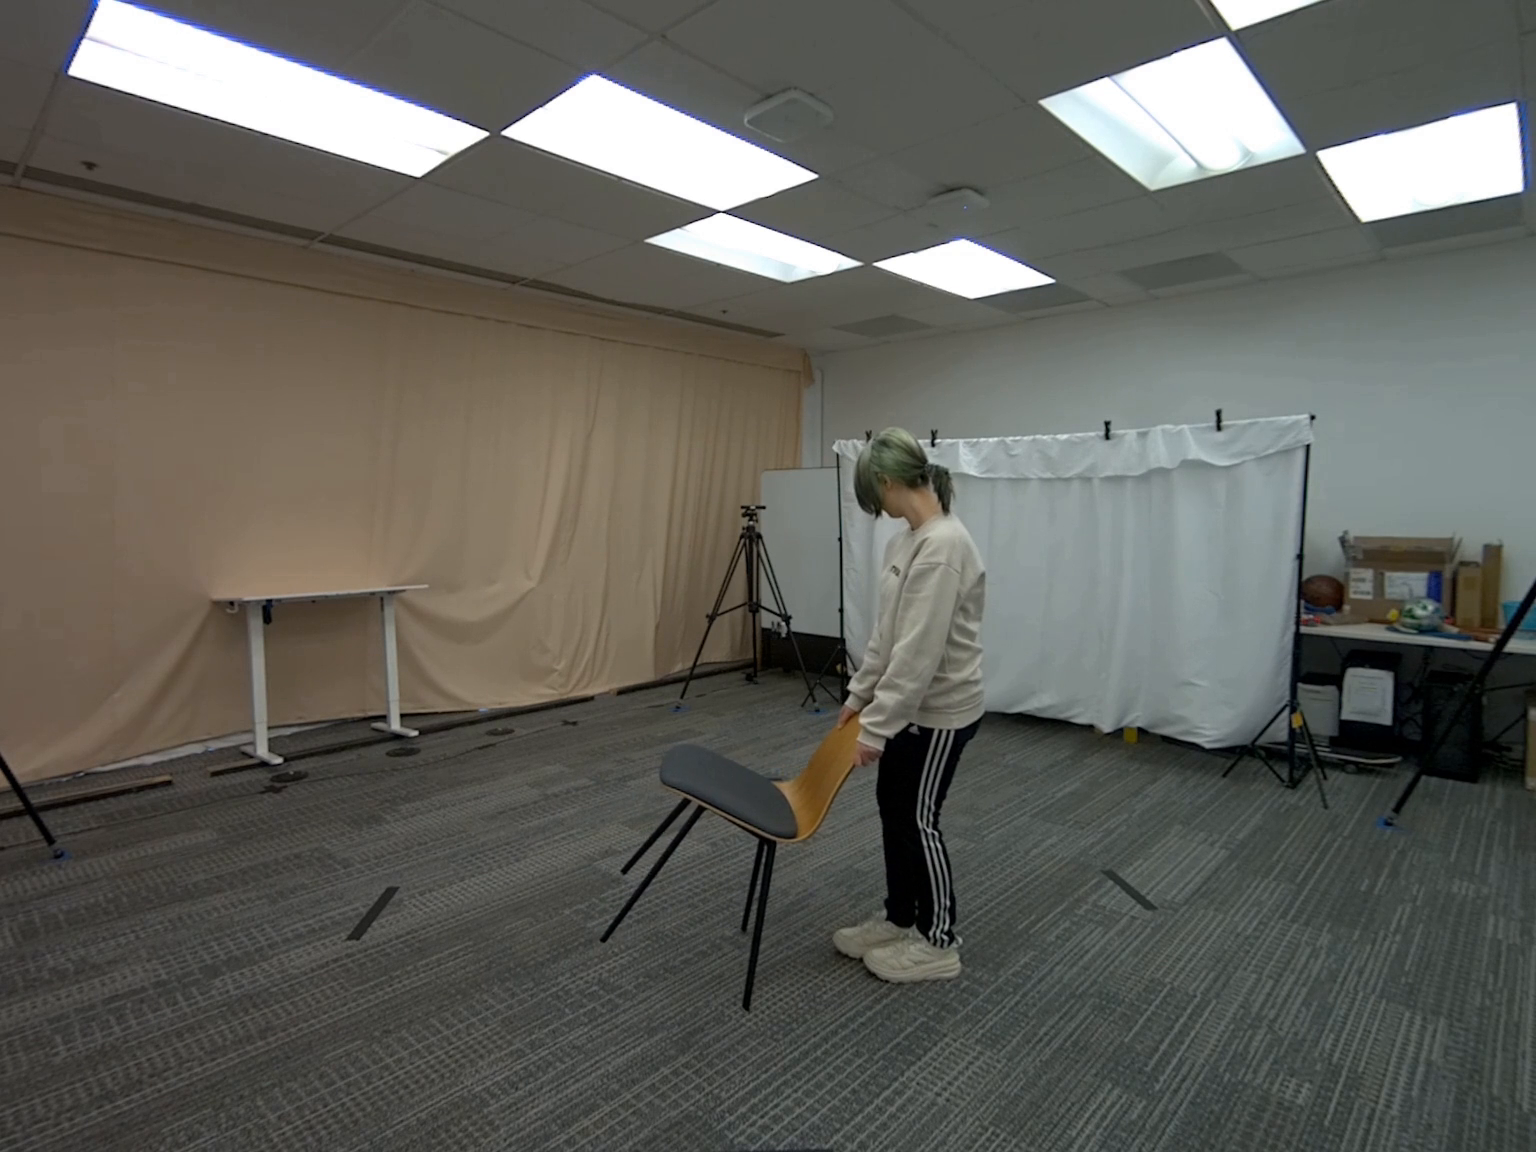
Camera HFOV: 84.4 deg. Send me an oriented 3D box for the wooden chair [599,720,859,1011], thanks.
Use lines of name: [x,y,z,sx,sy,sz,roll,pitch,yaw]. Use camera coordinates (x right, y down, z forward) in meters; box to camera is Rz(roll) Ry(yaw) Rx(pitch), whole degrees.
wooden chair: [-0.088,0.703,2.508,0.522,0.877,0.479,30,3,-3]
